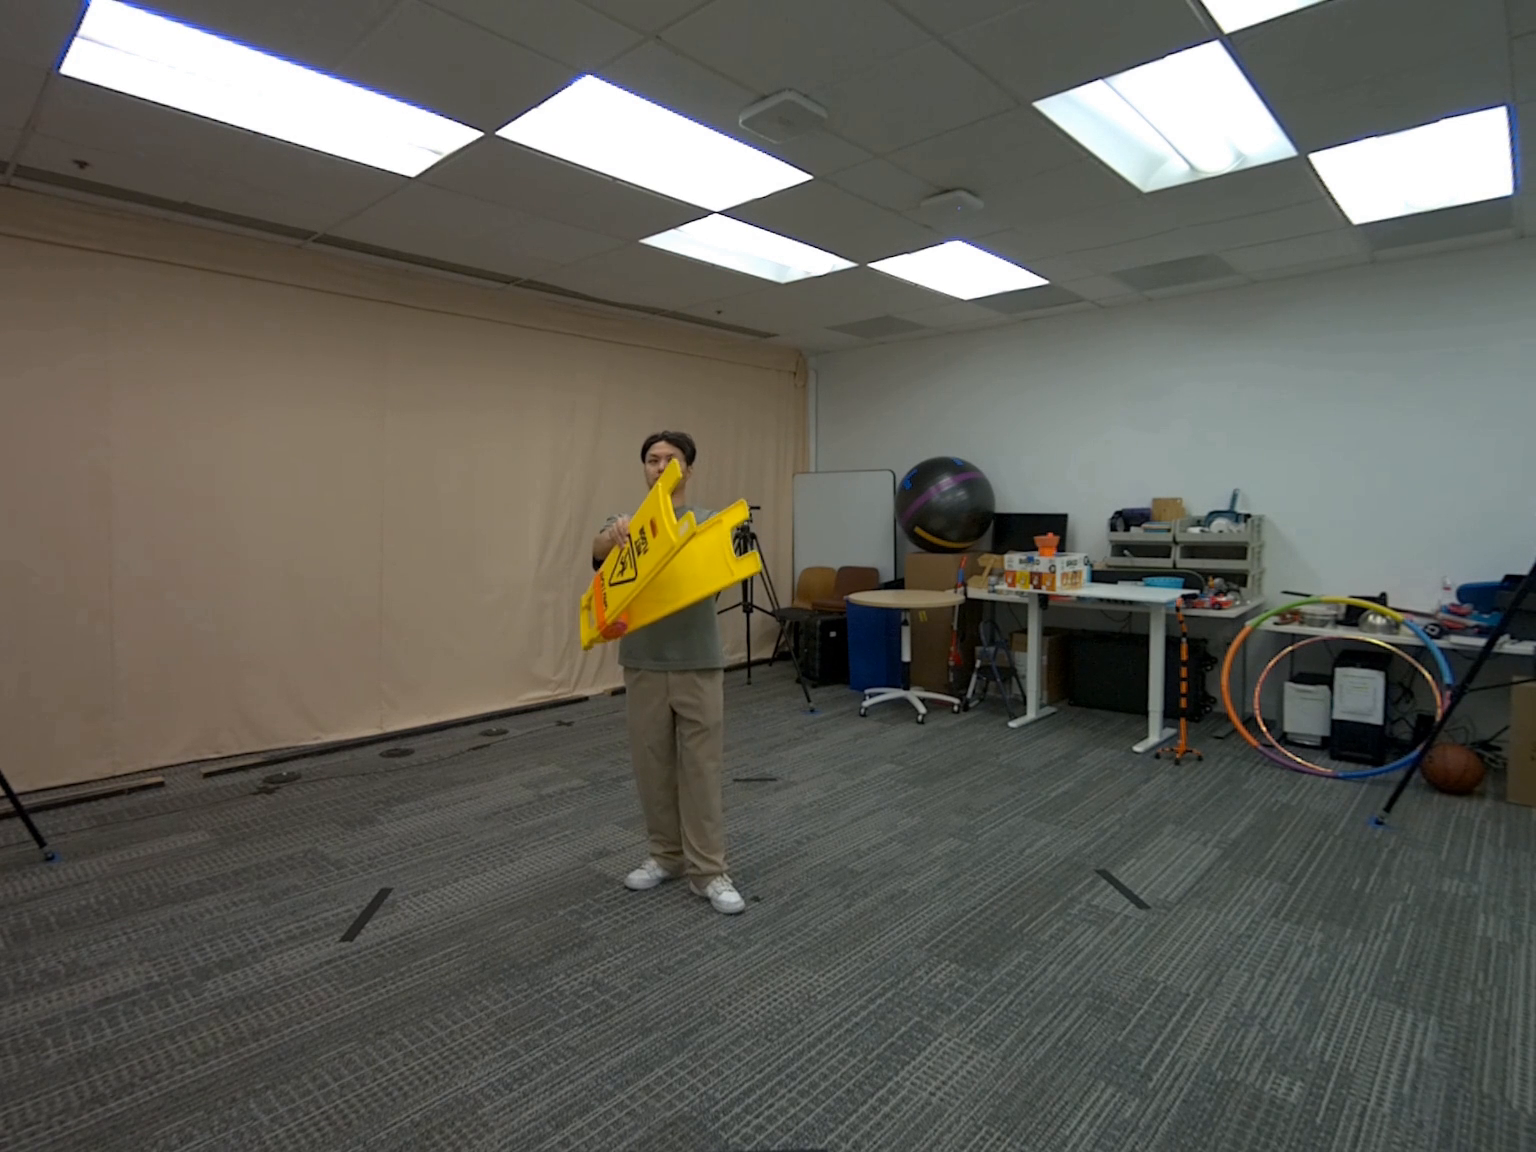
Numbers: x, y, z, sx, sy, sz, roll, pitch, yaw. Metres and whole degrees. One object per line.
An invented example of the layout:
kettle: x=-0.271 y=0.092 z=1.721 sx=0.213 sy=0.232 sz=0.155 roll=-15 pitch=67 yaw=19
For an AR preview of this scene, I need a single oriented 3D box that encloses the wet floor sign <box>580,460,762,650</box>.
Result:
wet floor sign: x=-0.360 y=-0.008 z=2.562 sx=0.654 sy=0.289 sz=0.279 roll=-37 pitch=-45 yaw=29
